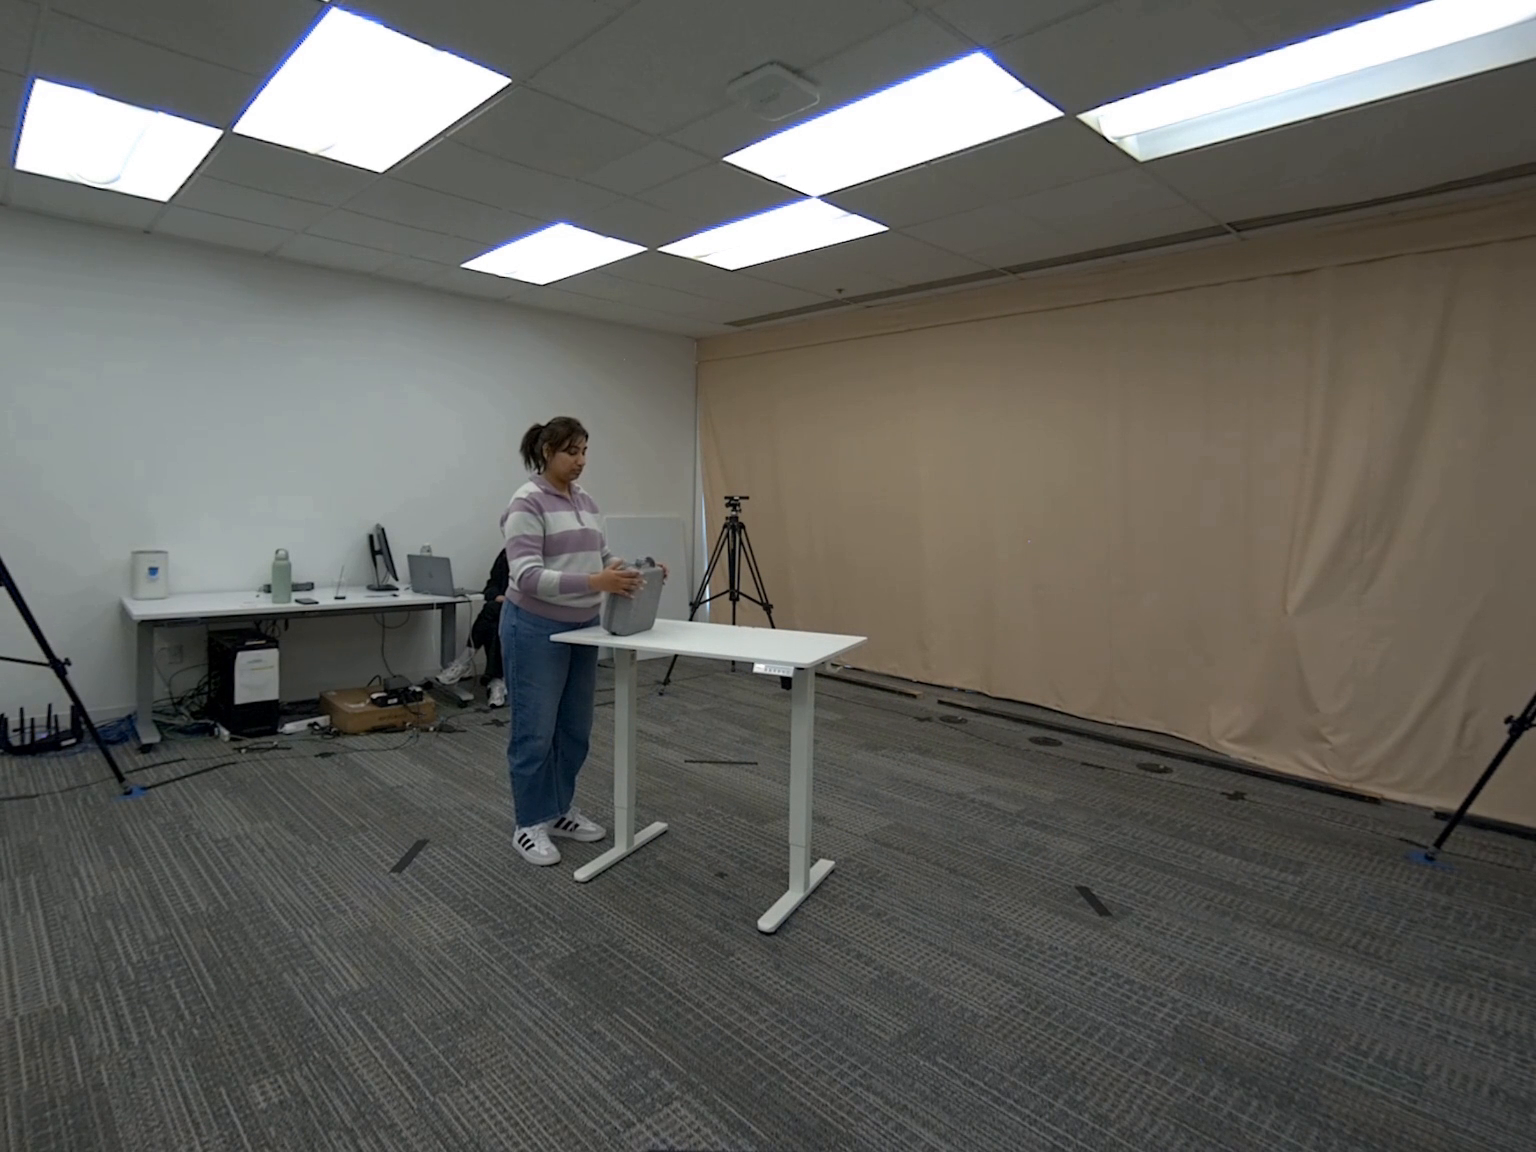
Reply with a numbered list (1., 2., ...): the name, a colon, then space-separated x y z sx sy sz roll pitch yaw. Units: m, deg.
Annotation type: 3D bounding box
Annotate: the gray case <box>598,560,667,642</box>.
1. gray case: -0.501 0.086 3.142 0.106 0.260 0.254 13 6 16
